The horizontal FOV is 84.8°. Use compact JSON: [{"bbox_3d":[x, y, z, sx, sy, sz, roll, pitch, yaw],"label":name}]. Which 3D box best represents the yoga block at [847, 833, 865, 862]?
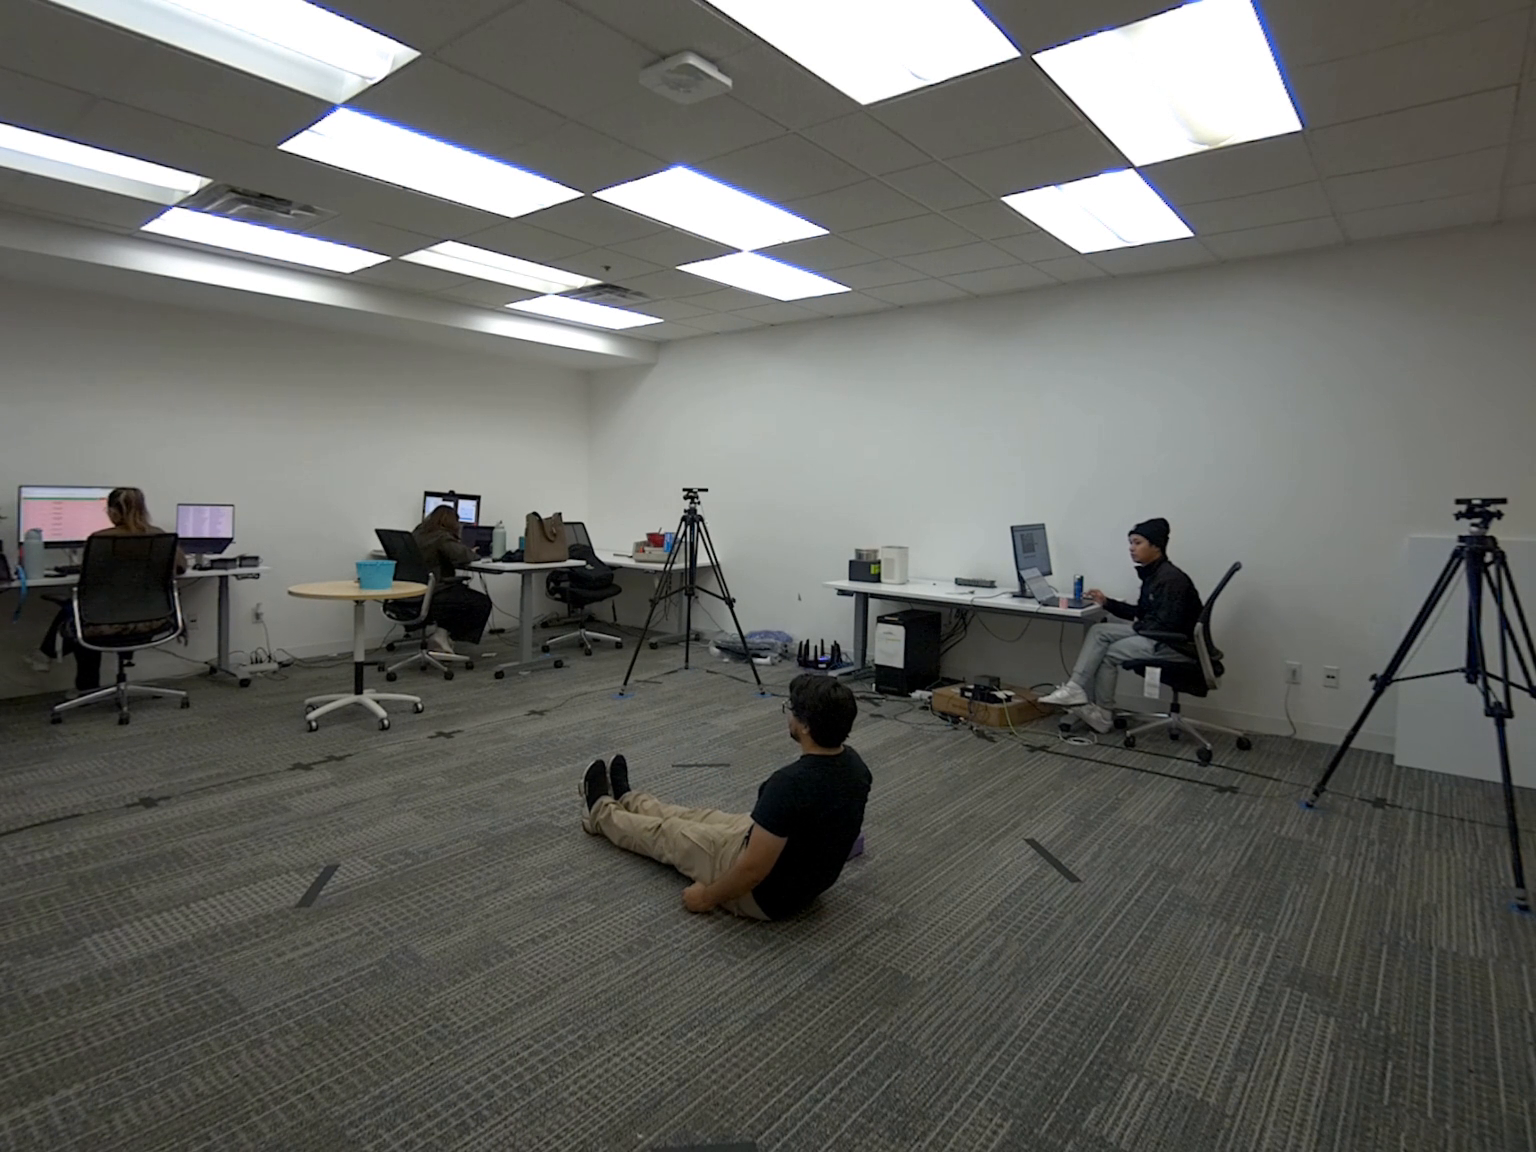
[{"bbox_3d":[0.231,1.015,3.305,0.237,0.076,0.144,4,5,41],"label":"yoga block"}]
